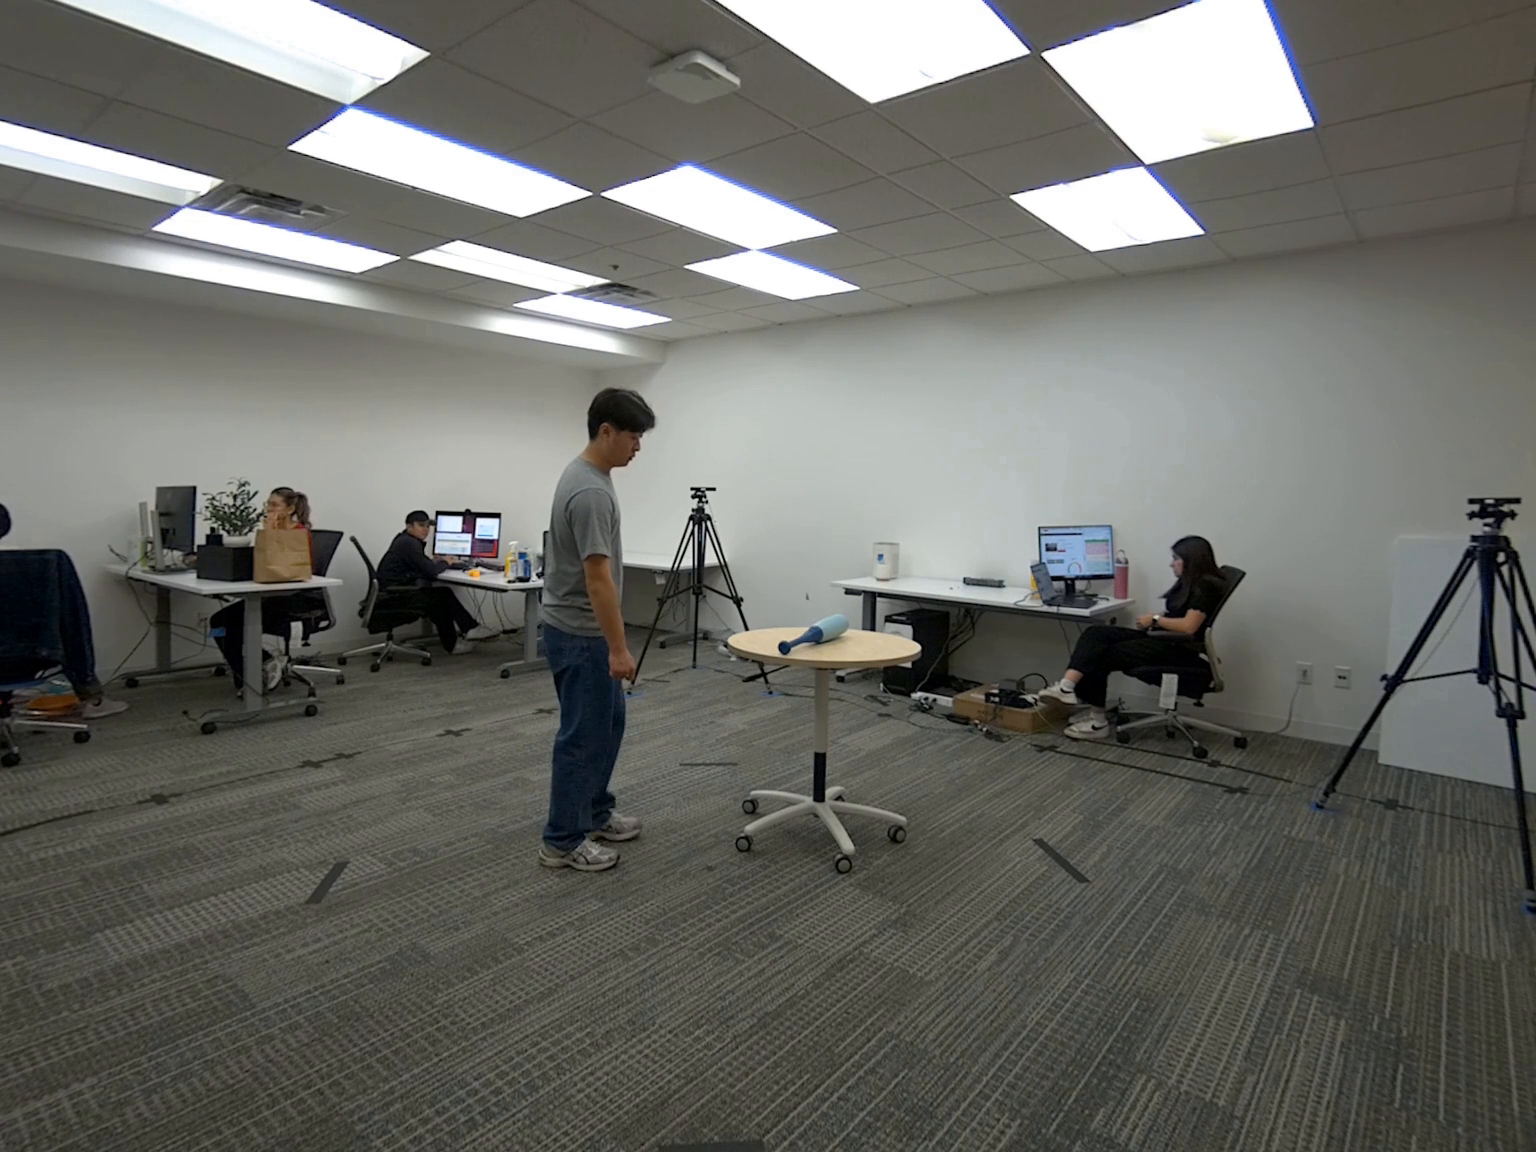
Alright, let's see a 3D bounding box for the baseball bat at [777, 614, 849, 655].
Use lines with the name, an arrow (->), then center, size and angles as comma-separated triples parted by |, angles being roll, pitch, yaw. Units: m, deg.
baseball bat -> 0.174, 0.236, 3.340 | 0.091, 0.088, 0.531 | 3, 9, 28
